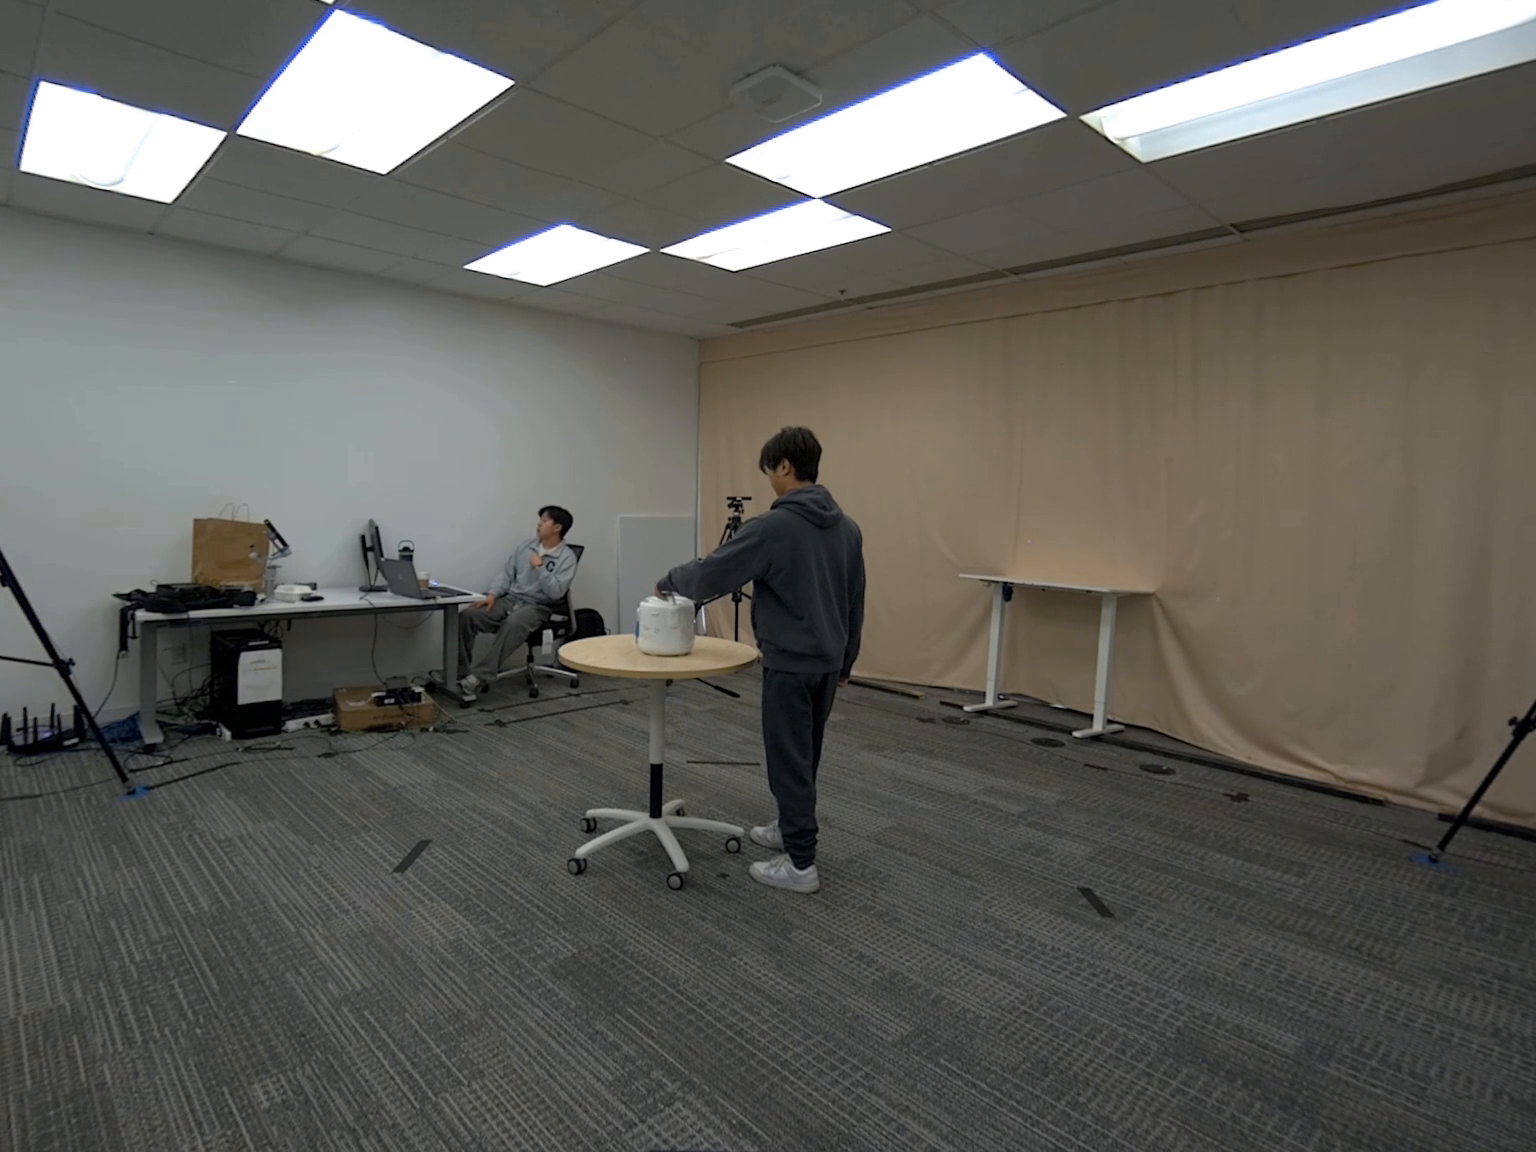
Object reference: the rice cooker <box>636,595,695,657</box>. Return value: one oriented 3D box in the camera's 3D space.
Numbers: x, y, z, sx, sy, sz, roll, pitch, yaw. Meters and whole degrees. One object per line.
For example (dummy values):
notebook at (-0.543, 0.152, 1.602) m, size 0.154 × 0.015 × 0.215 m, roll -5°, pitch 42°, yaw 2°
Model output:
rice cooker at (-0.387, 0.177, 3.219) m, size 0.214 × 0.232 × 0.224 m, roll -1°, pitch 6°, yaw -20°
